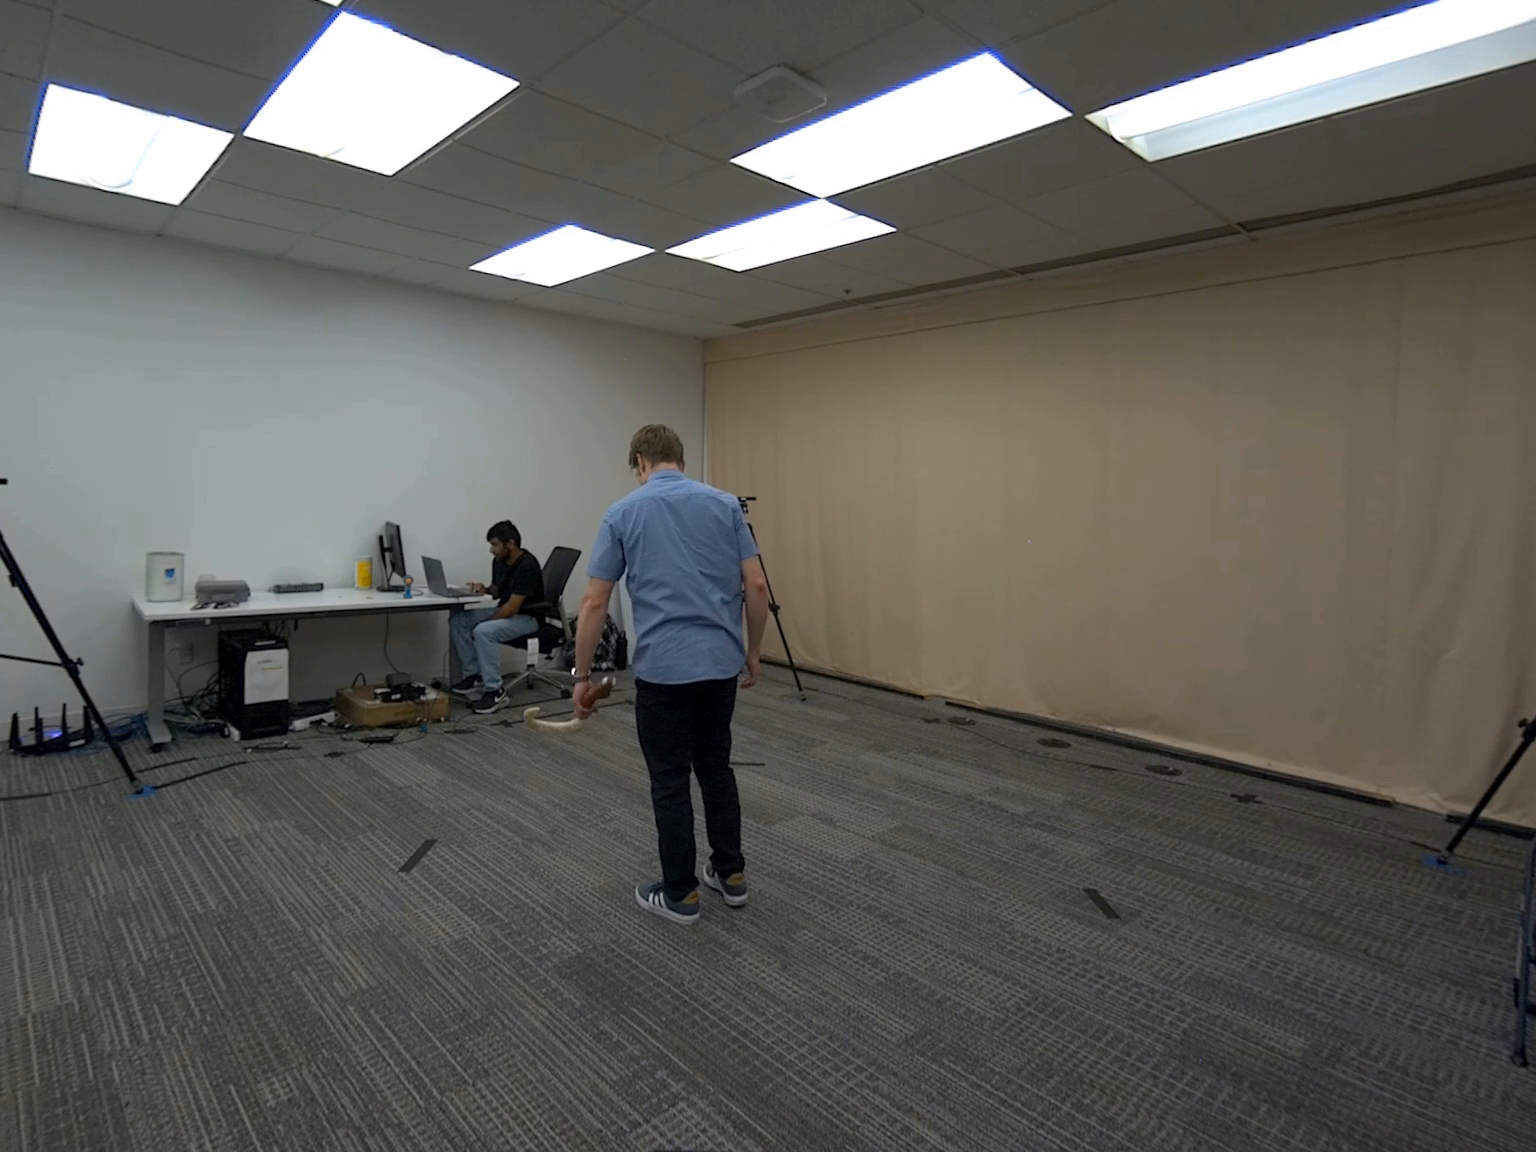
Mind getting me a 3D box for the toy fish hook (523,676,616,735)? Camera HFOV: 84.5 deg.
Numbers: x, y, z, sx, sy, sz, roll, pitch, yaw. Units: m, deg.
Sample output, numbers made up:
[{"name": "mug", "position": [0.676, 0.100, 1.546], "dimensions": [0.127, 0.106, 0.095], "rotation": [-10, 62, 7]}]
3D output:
[{"name": "toy fish hook", "position": [-0.653, 0.430, 2.798], "dimensions": [0.219, 0.049, 0.507], "rotation": [13, -35, -28]}]
